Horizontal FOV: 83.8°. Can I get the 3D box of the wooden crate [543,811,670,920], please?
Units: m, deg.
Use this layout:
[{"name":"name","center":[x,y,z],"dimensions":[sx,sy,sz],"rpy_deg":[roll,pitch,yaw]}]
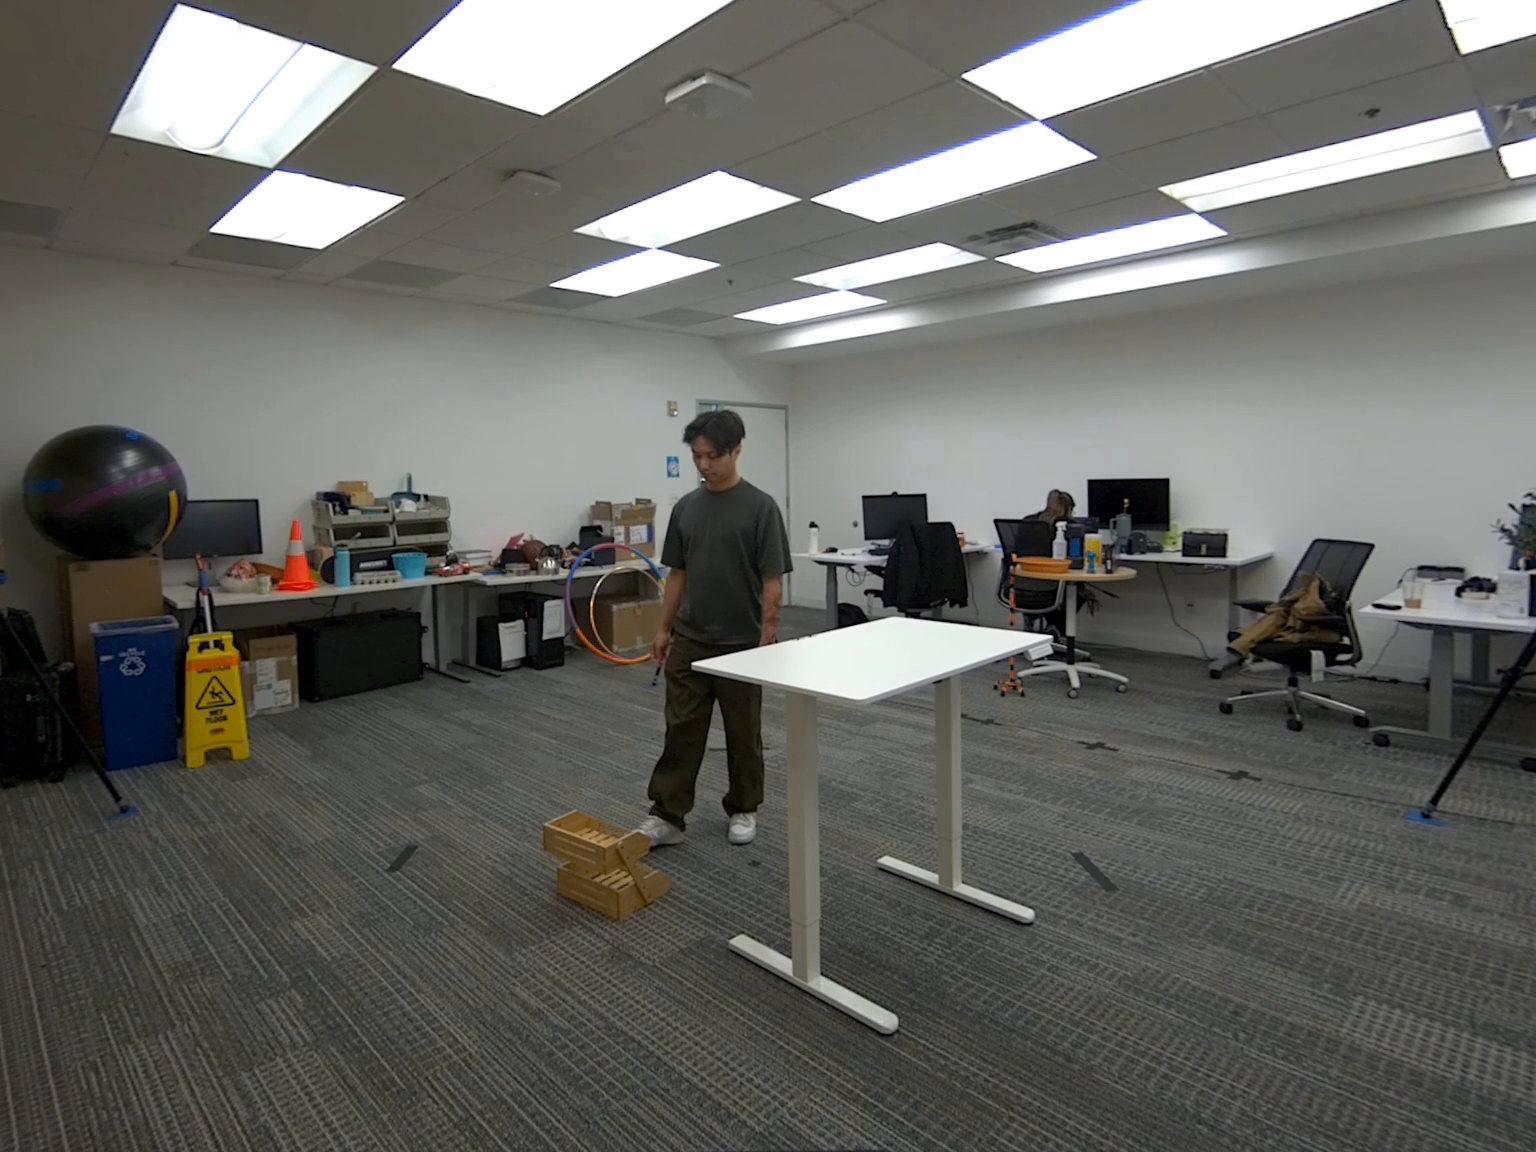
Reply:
[{"name":"wooden crate","center":[-0.536,0.944,2.882],"dimensions":[0.334,0.272,0.295],"rpy_deg":[3,8,38]}]
